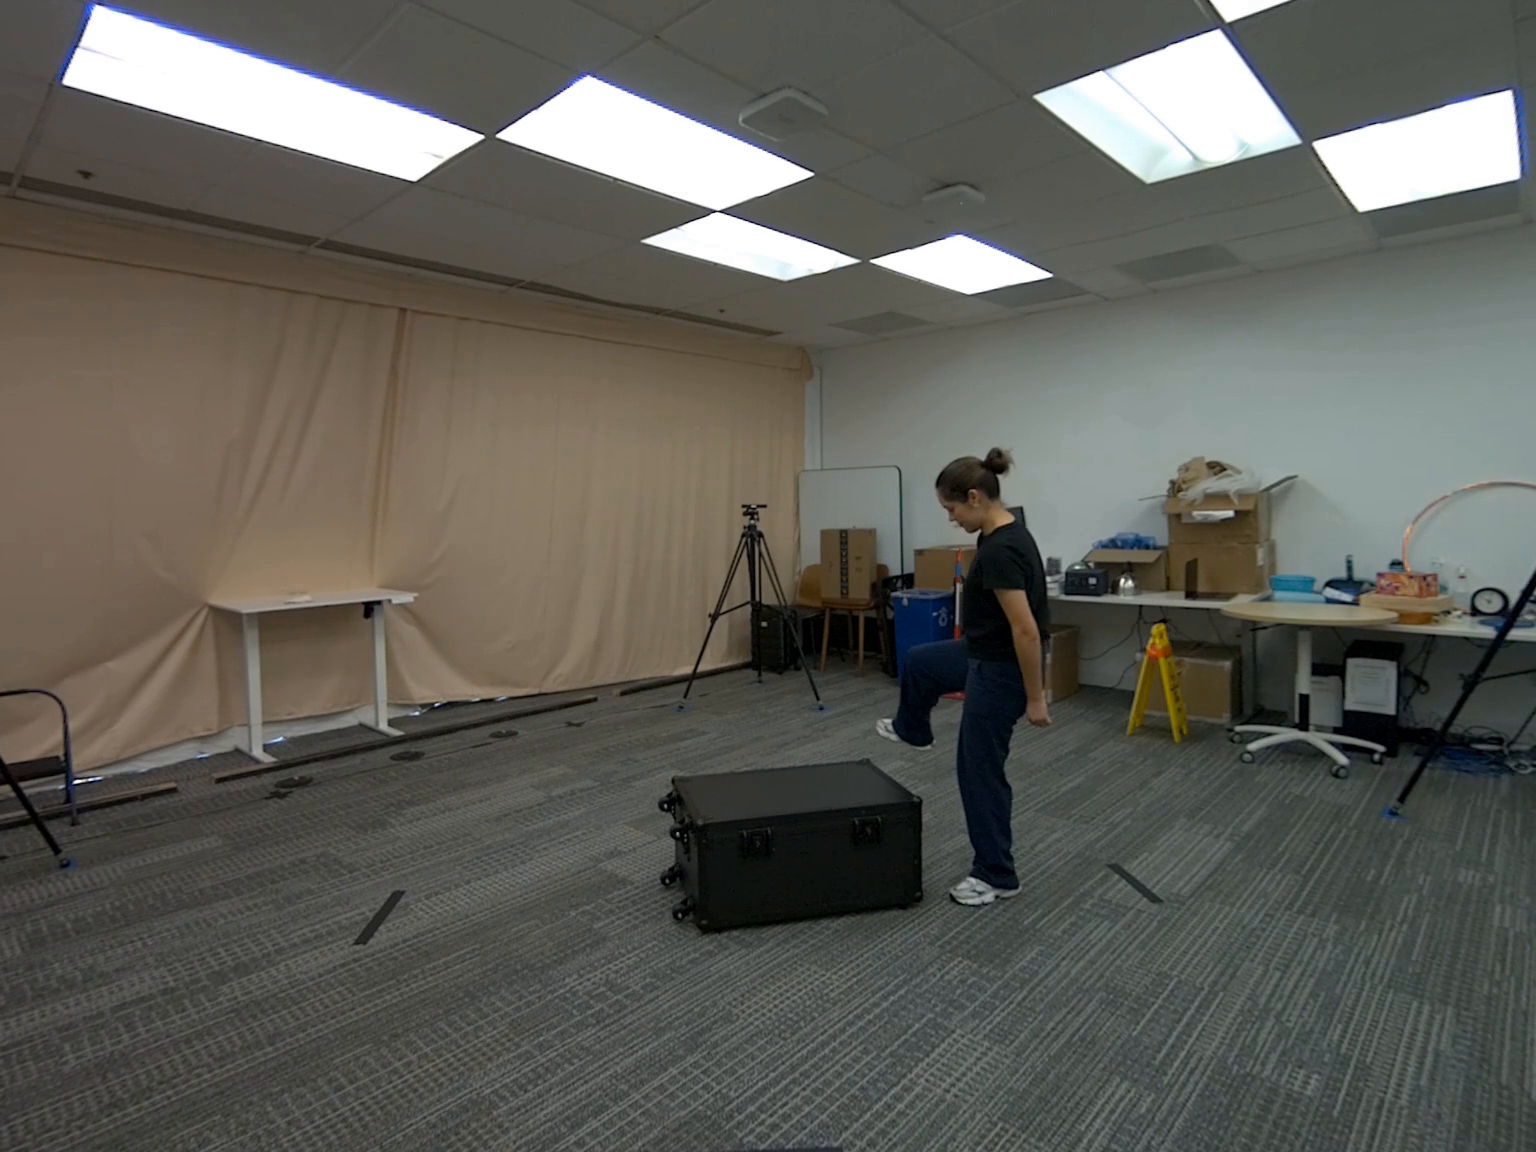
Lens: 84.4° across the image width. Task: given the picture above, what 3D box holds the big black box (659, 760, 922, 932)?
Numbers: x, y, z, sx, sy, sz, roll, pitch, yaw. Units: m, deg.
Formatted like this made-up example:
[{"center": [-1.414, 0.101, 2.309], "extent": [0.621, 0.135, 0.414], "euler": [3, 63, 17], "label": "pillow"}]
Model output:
[{"center": [0.070, 0.938, 3.016], "extent": [0.849, 0.395, 0.530], "euler": [-1, 4, -14], "label": "big black box"}]
